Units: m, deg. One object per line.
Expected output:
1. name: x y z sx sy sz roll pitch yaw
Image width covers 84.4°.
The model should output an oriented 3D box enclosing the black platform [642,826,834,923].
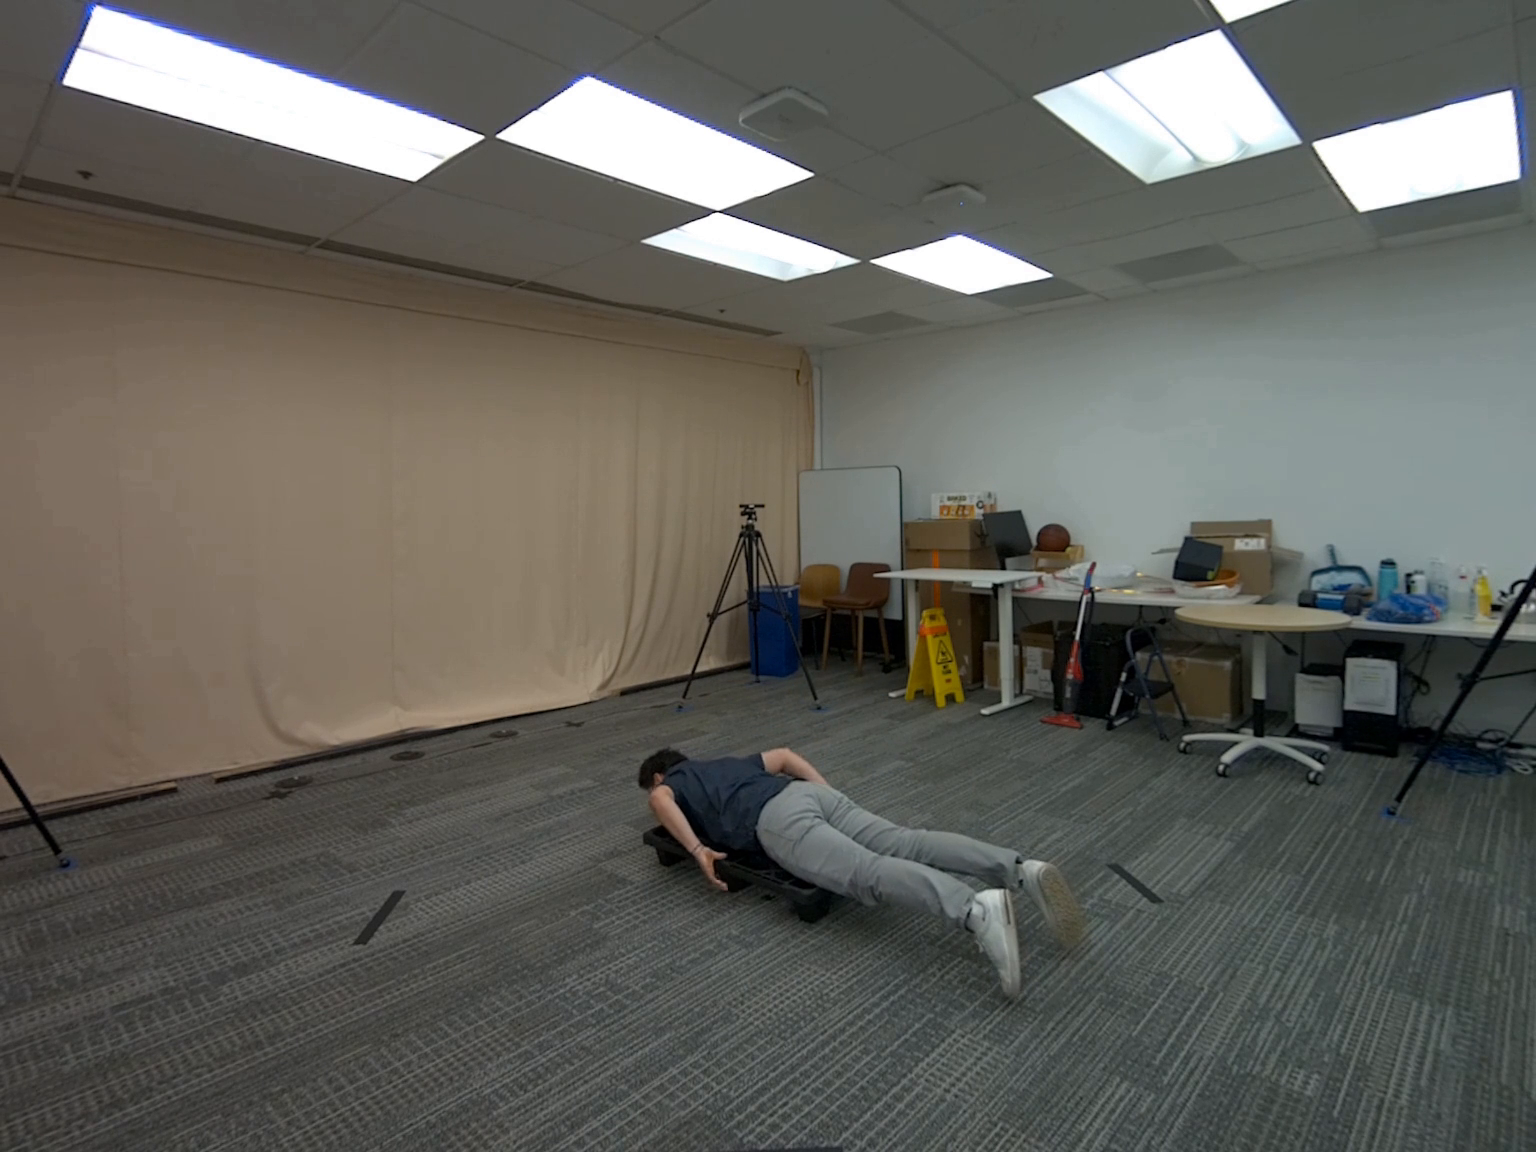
1. black platform: 0.018 1.067 3.211 0.832 0.143 0.588 3 9 40
